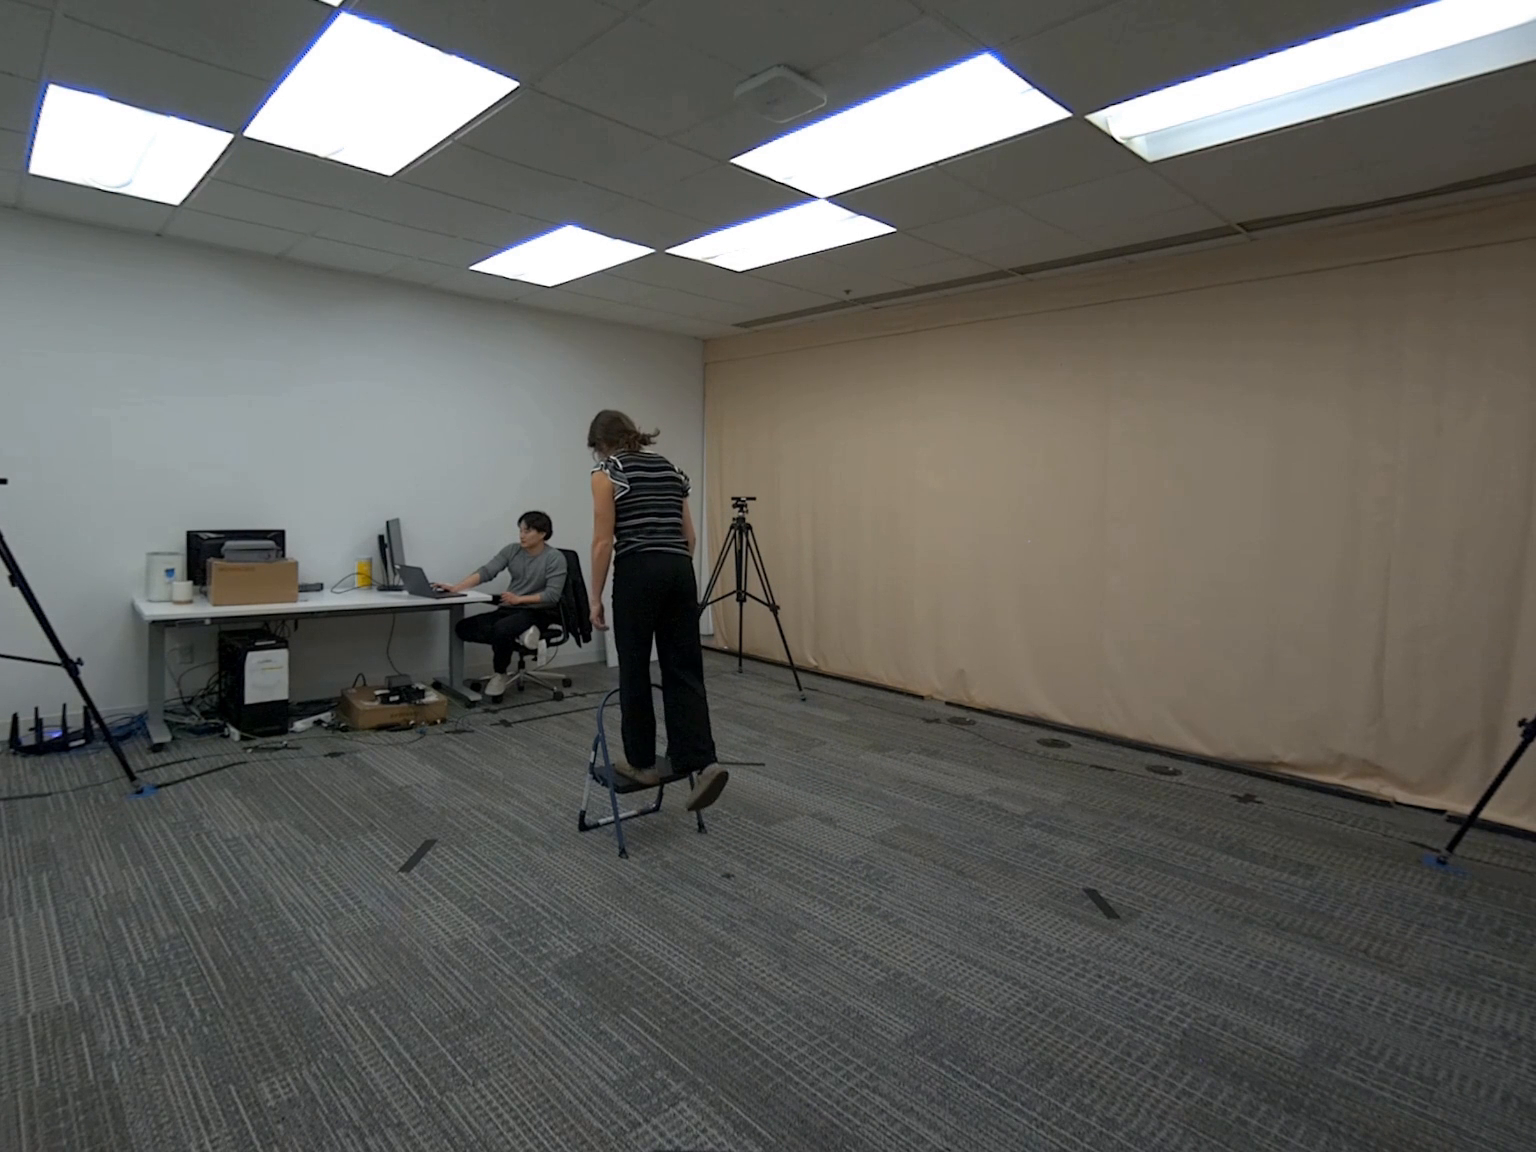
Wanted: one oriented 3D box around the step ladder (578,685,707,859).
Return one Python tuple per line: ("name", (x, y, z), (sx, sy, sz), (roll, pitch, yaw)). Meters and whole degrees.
("step ladder", (-0.524, 0.764, 3.488), (0.421, 0.605, 0.358), (-2, 5, -44))
